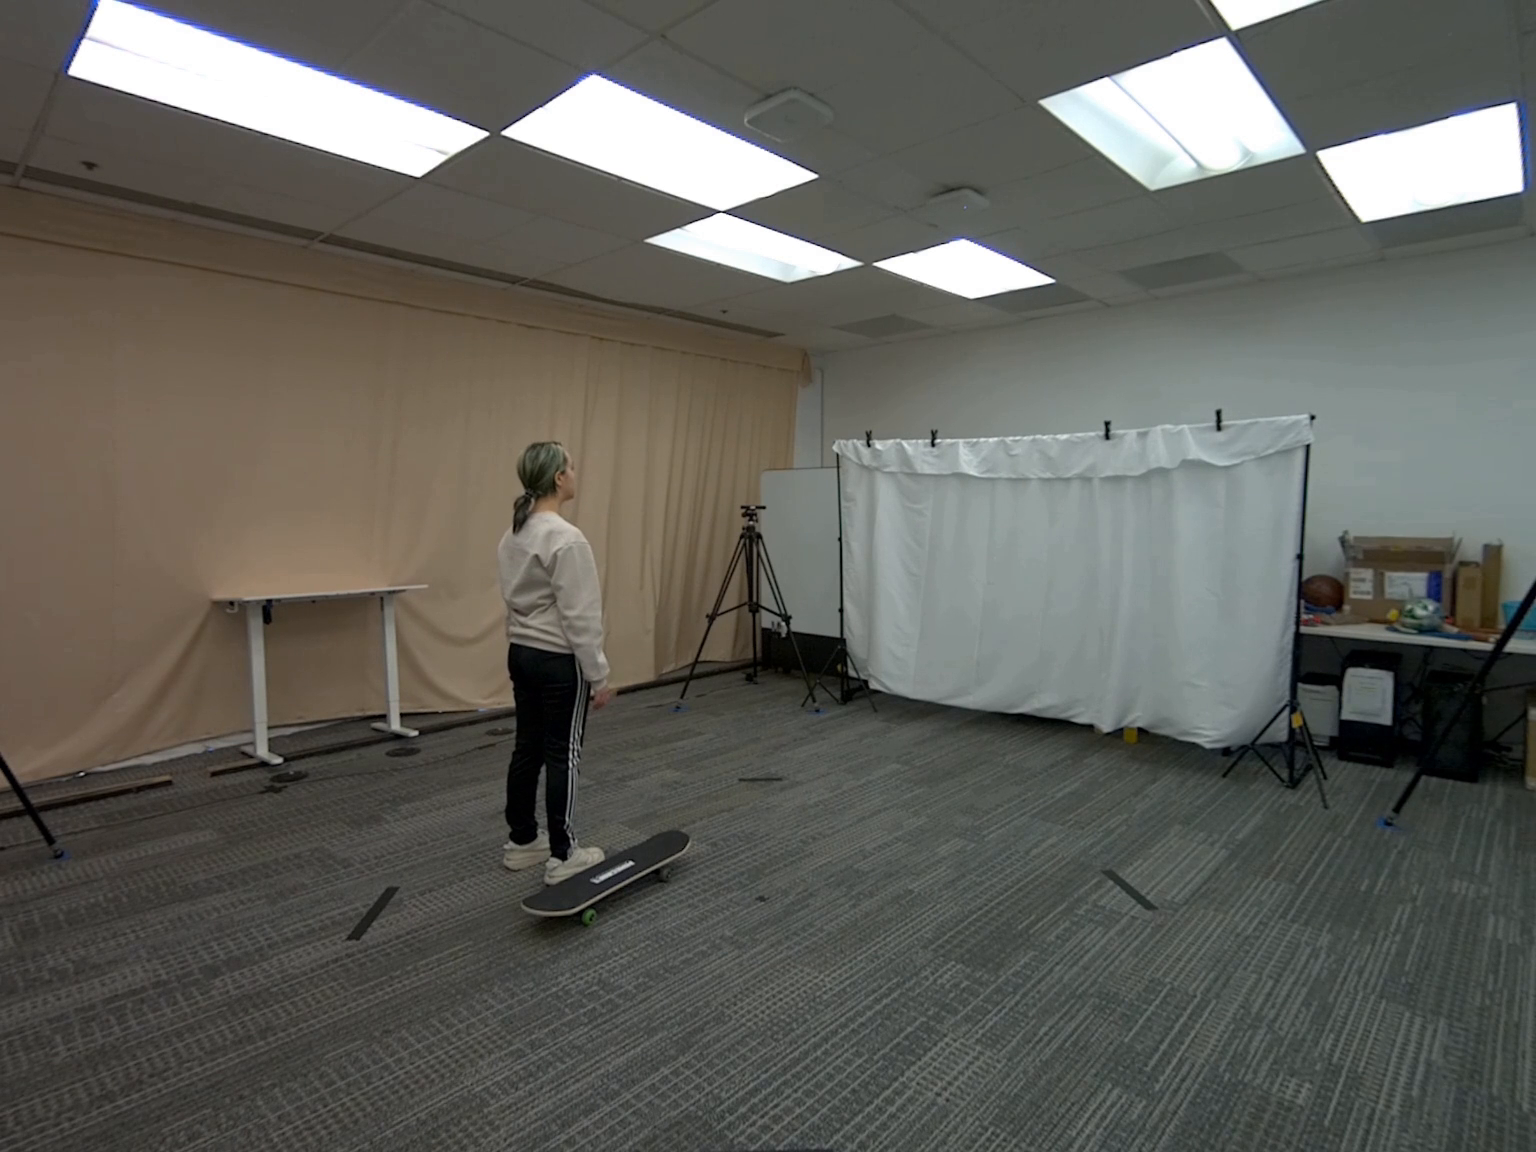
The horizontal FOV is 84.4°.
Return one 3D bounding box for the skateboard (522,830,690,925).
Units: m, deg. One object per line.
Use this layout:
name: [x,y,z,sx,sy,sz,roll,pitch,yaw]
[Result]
skateboard: [-0.560,1.092,3.010,0.199,0.110,0.763,1,4,34]
